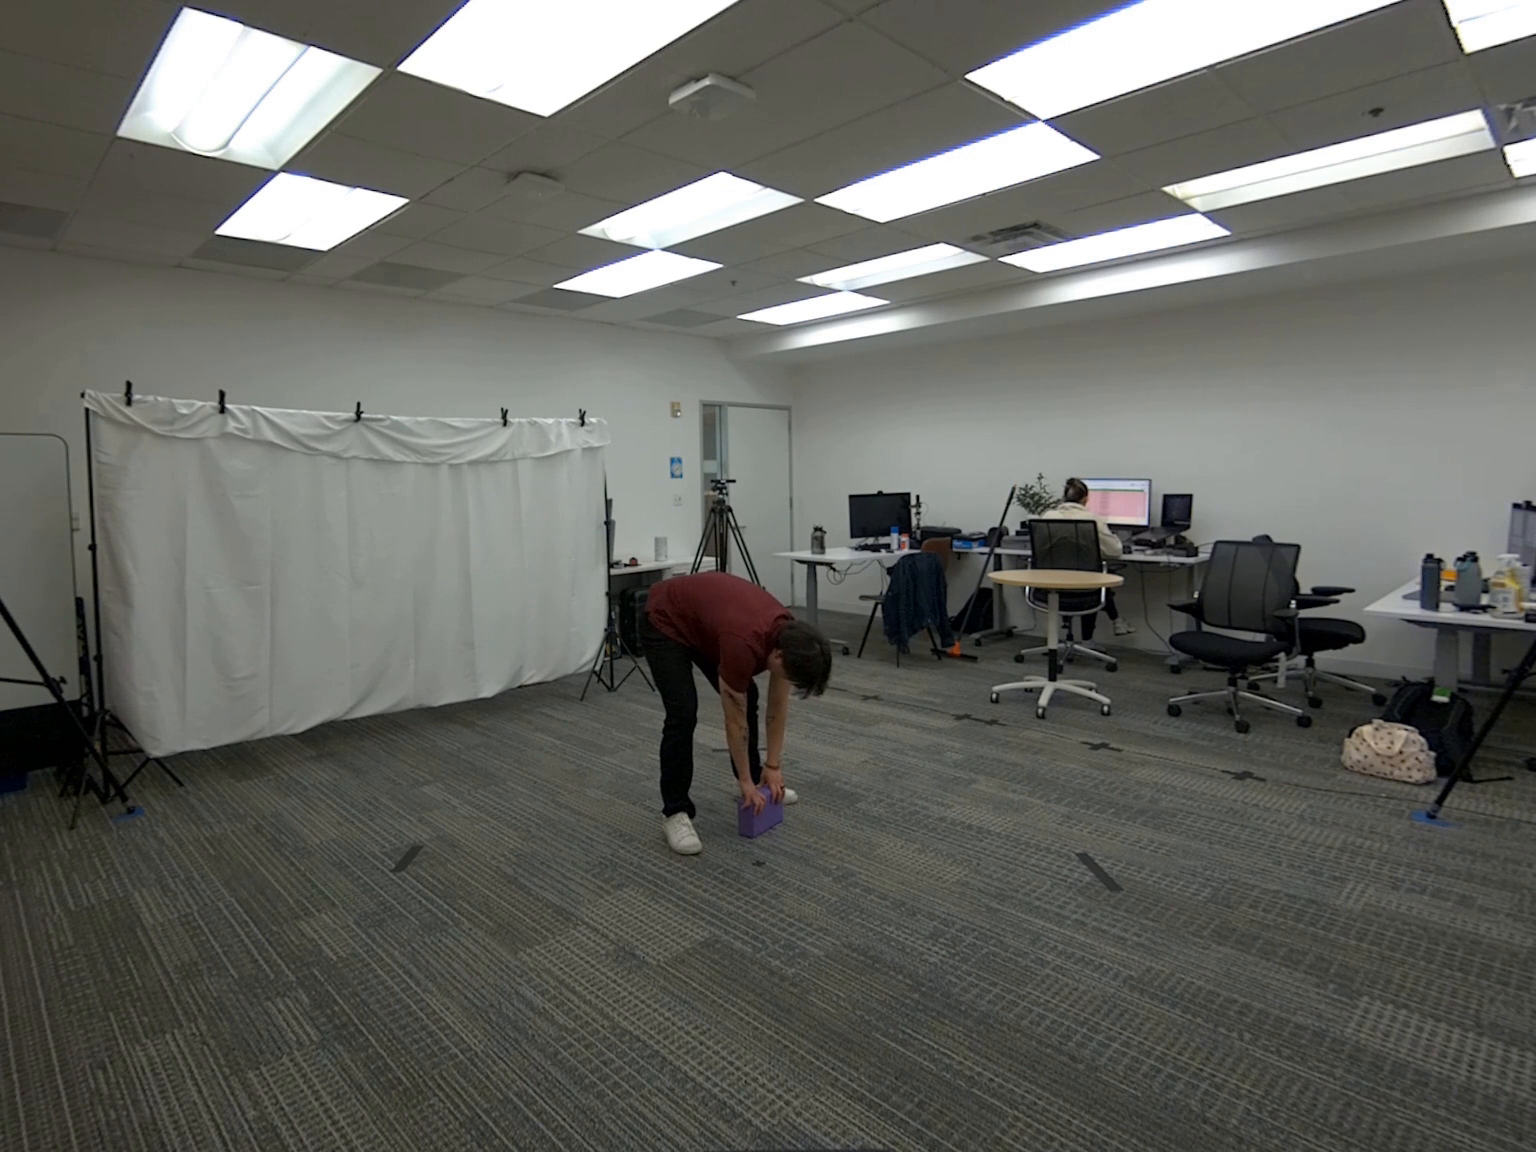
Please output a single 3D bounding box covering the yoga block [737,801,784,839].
[{"bbox_3d":[-0.036,0.941,3.436,0.078,0.149,0.224,-5,2,34],"label":"yoga block"}]
